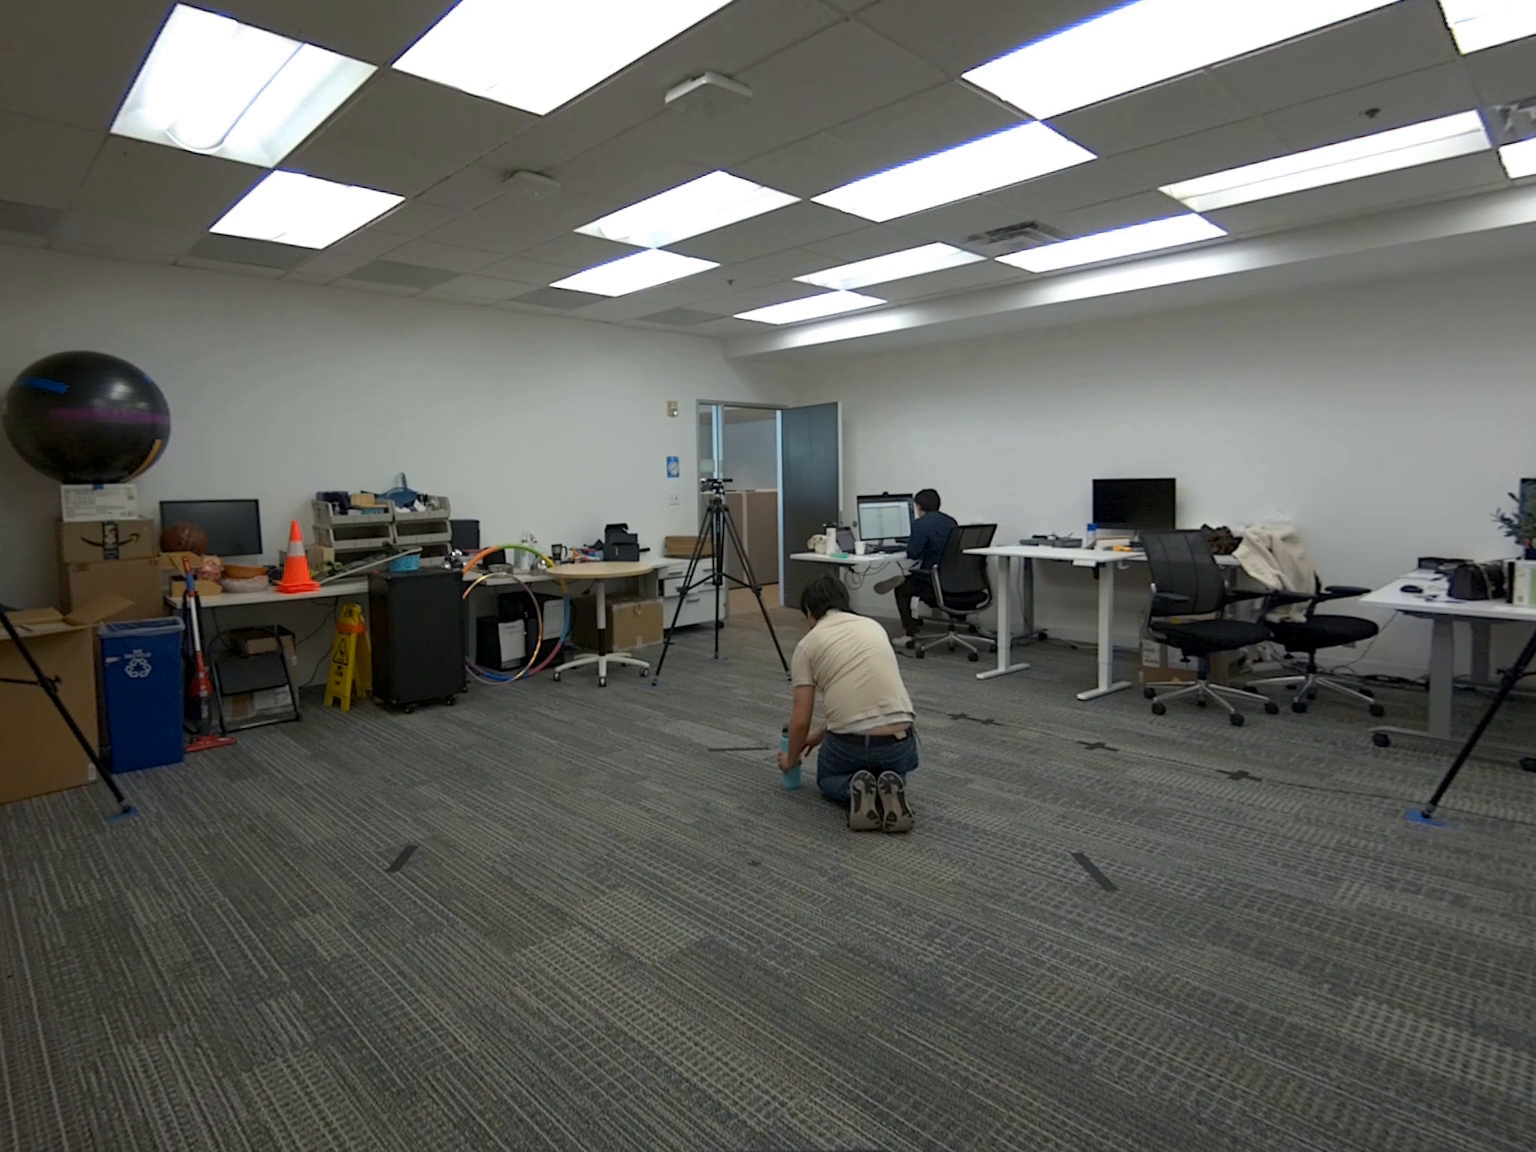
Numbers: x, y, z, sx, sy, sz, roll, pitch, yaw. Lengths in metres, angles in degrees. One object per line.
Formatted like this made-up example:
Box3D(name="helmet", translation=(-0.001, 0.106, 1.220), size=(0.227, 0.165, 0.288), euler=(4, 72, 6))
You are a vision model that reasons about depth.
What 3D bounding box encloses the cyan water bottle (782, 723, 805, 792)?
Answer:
Box3D(name="cyan water bottle", translation=(0.114, 0.820, 3.888), size=(0.092, 0.282, 0.093), euler=(0, 3, -2))
